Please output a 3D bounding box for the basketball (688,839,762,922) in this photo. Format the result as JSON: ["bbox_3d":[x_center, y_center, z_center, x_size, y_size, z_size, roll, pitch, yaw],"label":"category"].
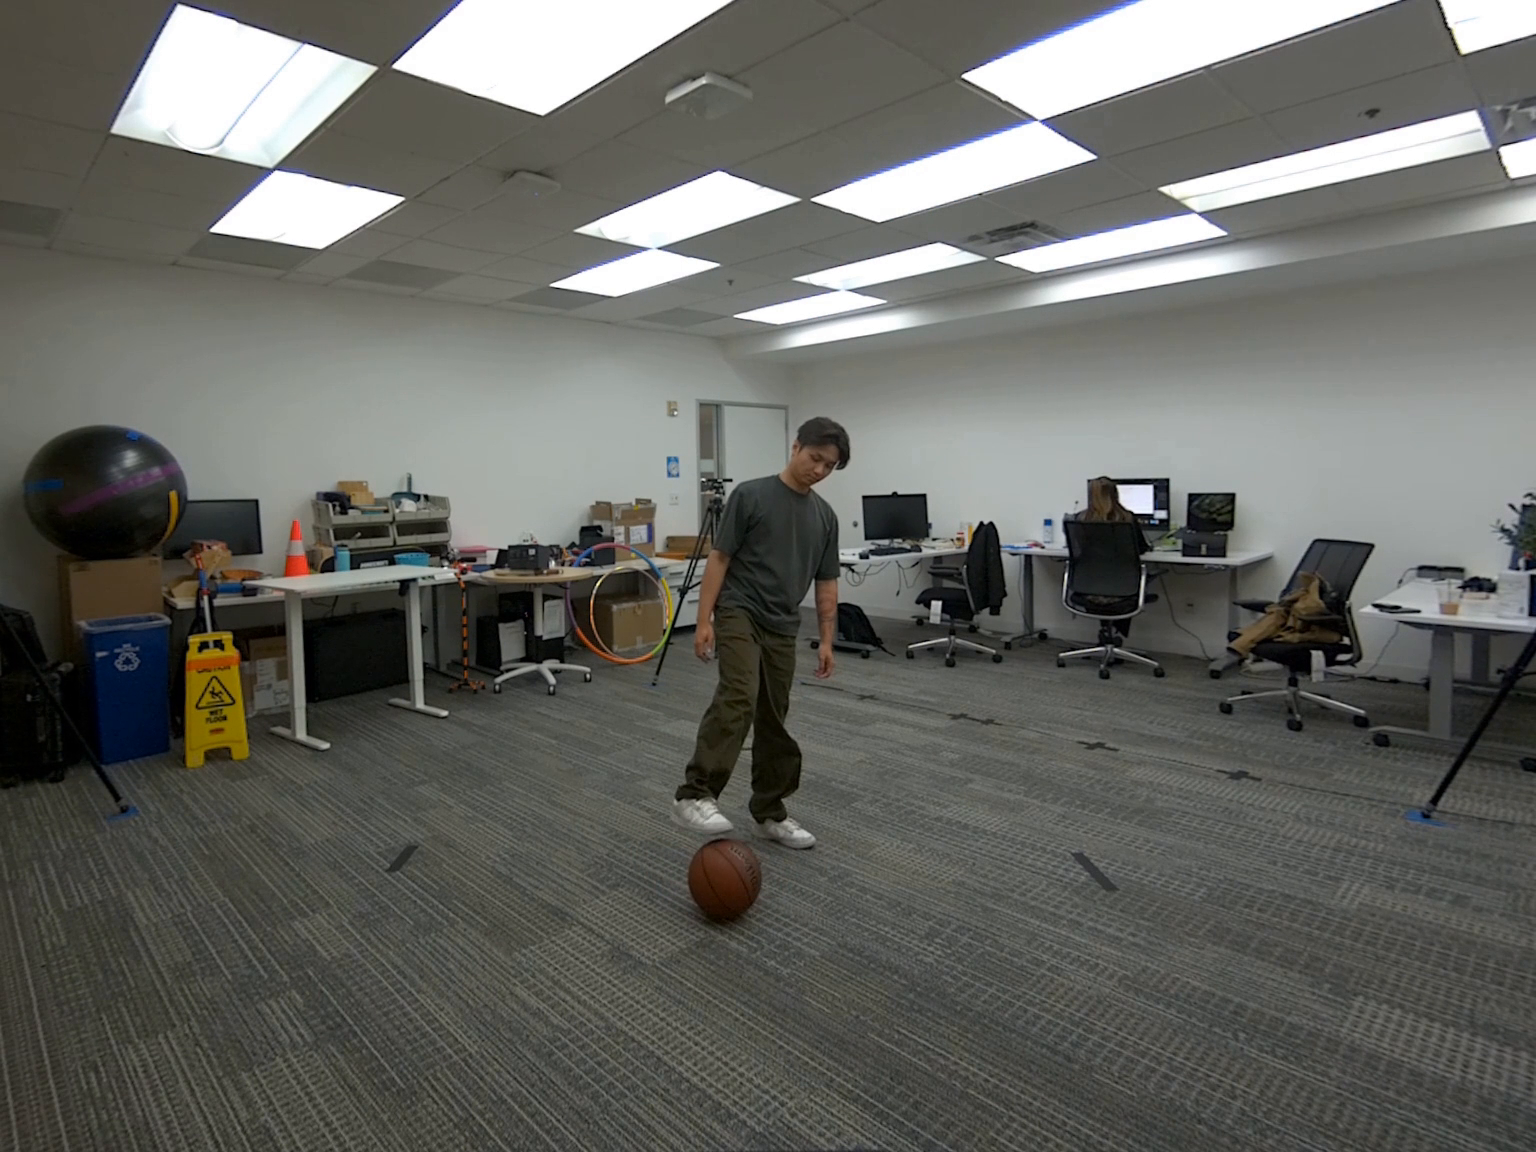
[{"bbox_3d":[-0.135,0.968,2.744,0.236,0.235,0.237,-1,5,-2],"label":"basketball"}]
